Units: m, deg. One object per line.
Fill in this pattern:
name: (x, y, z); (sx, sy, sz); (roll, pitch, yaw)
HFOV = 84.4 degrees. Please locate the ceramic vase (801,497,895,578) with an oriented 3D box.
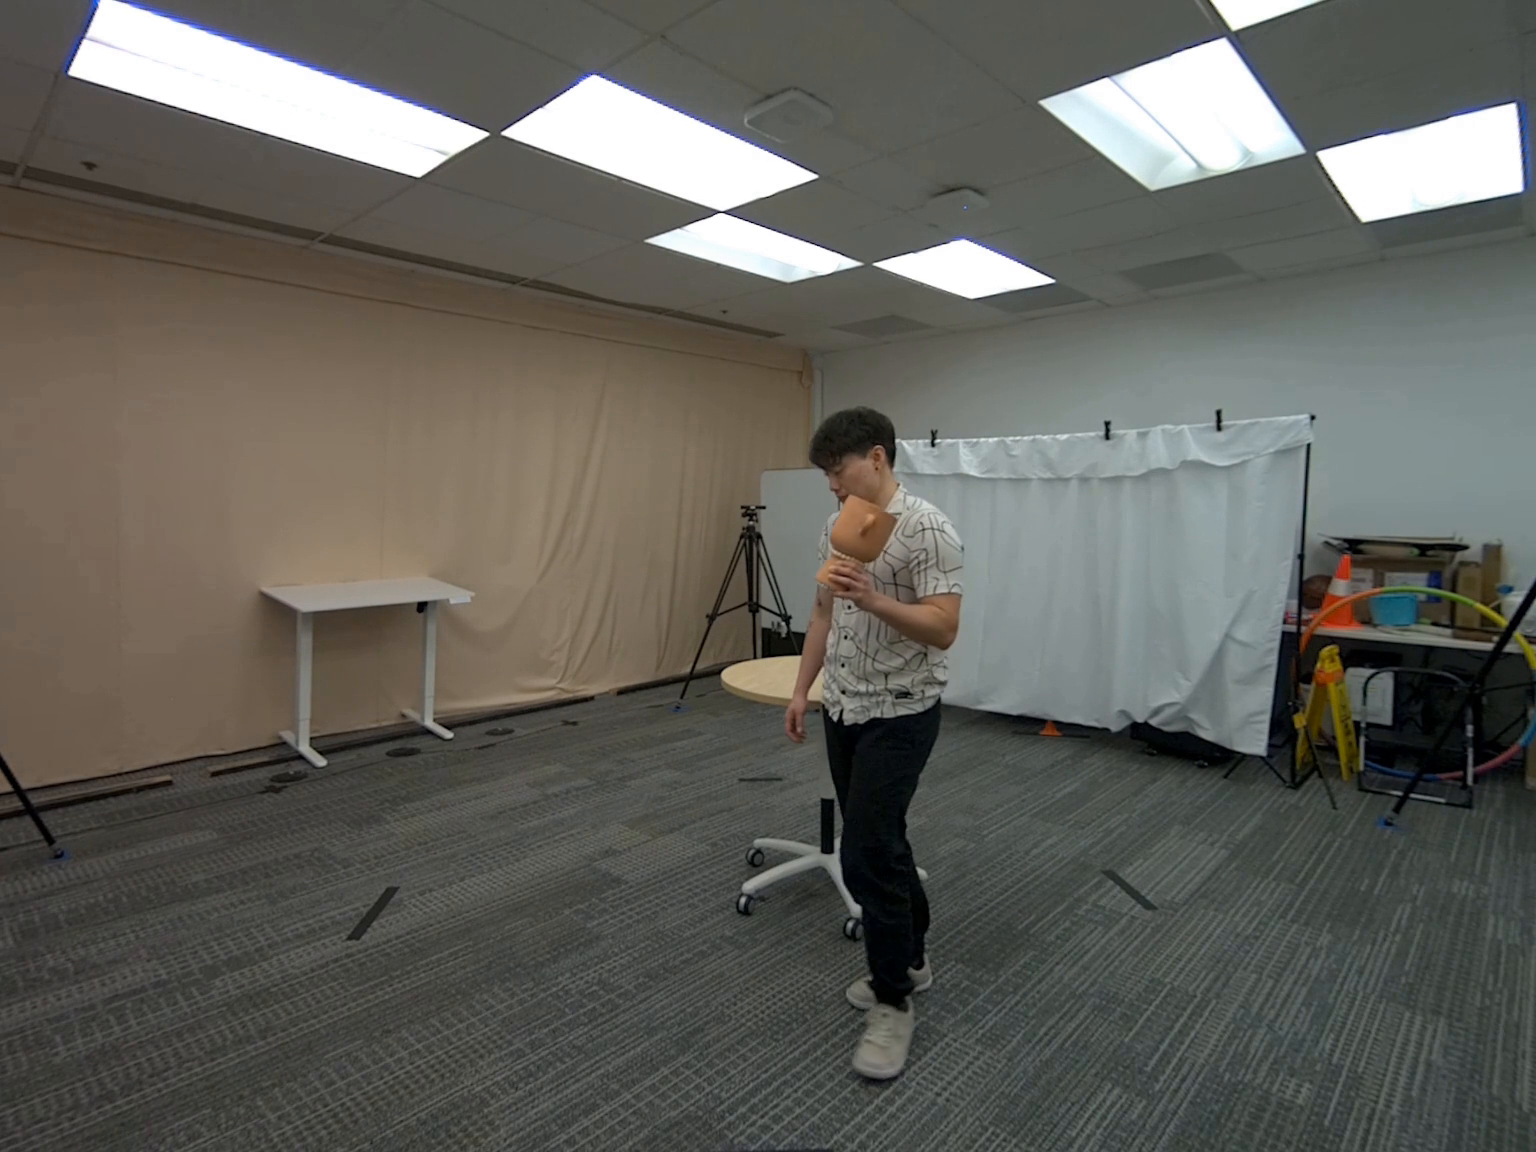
ceramic vase: (0.220, -0.069, 2.029); (0.140, 0.220, 0.153); (29, 4, 41)
